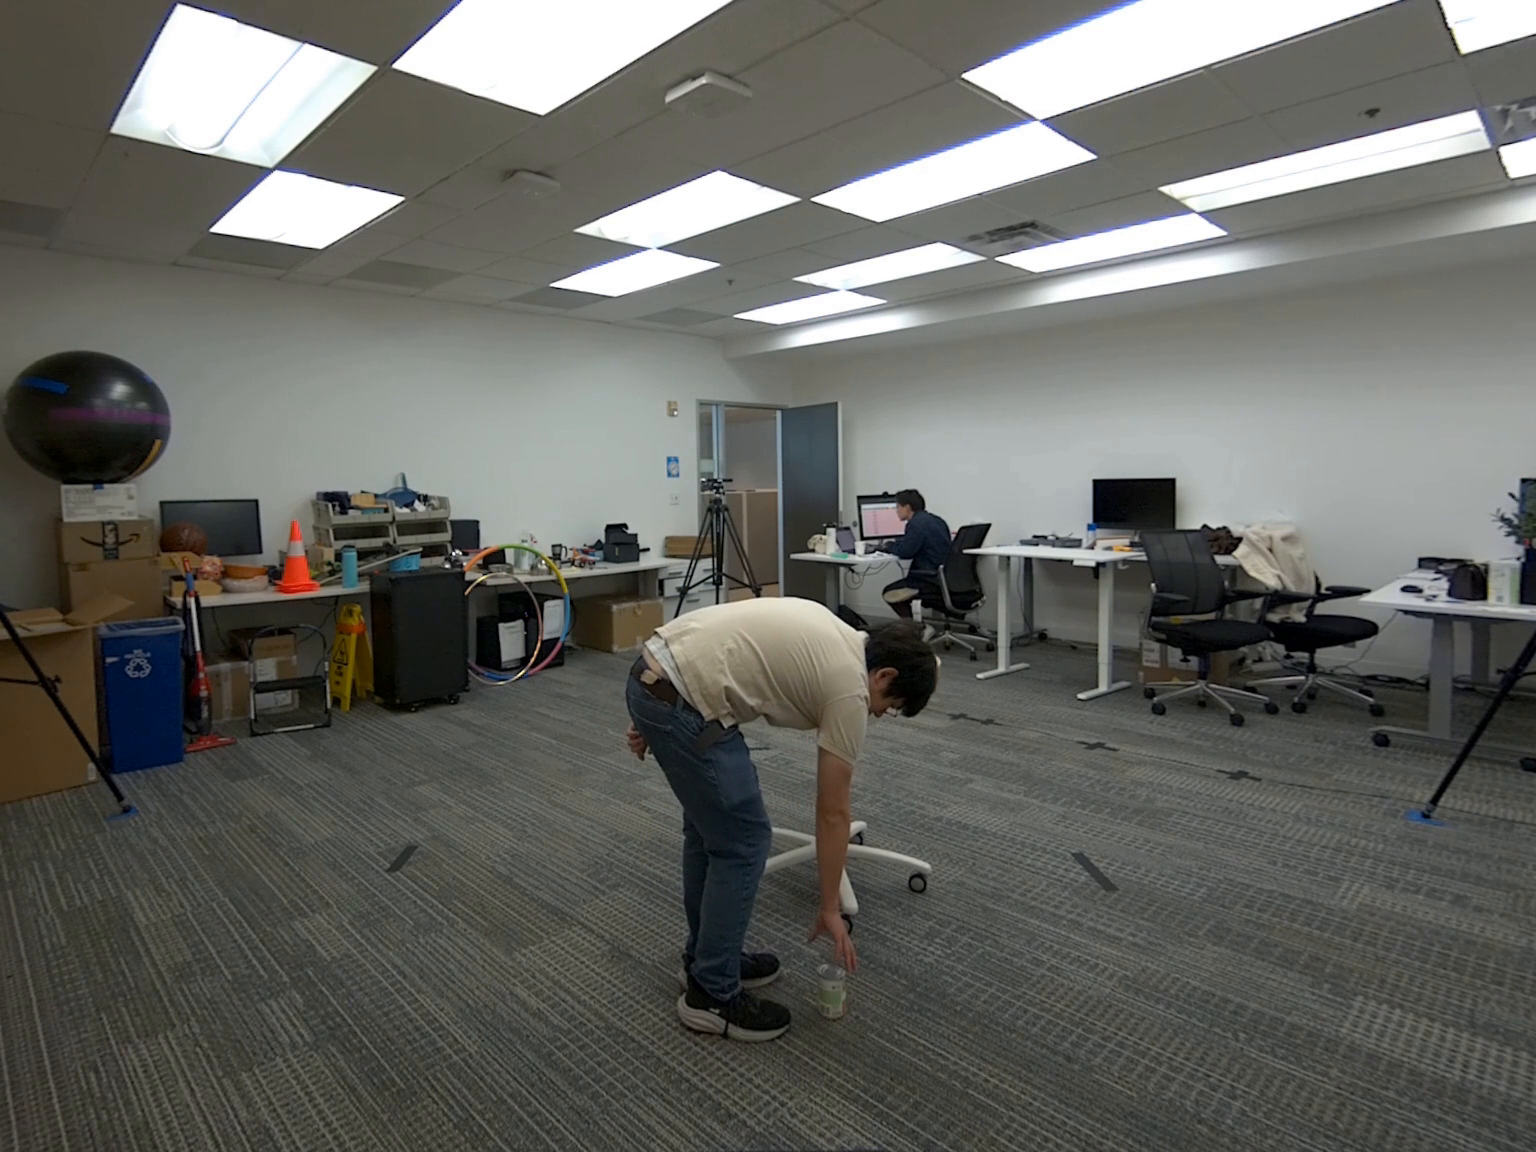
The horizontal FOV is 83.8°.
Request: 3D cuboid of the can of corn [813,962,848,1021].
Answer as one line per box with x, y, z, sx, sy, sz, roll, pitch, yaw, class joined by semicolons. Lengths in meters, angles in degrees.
0.168;1.080;2.232;0.074;0.111;0.074;-1;4;-2;can of corn
